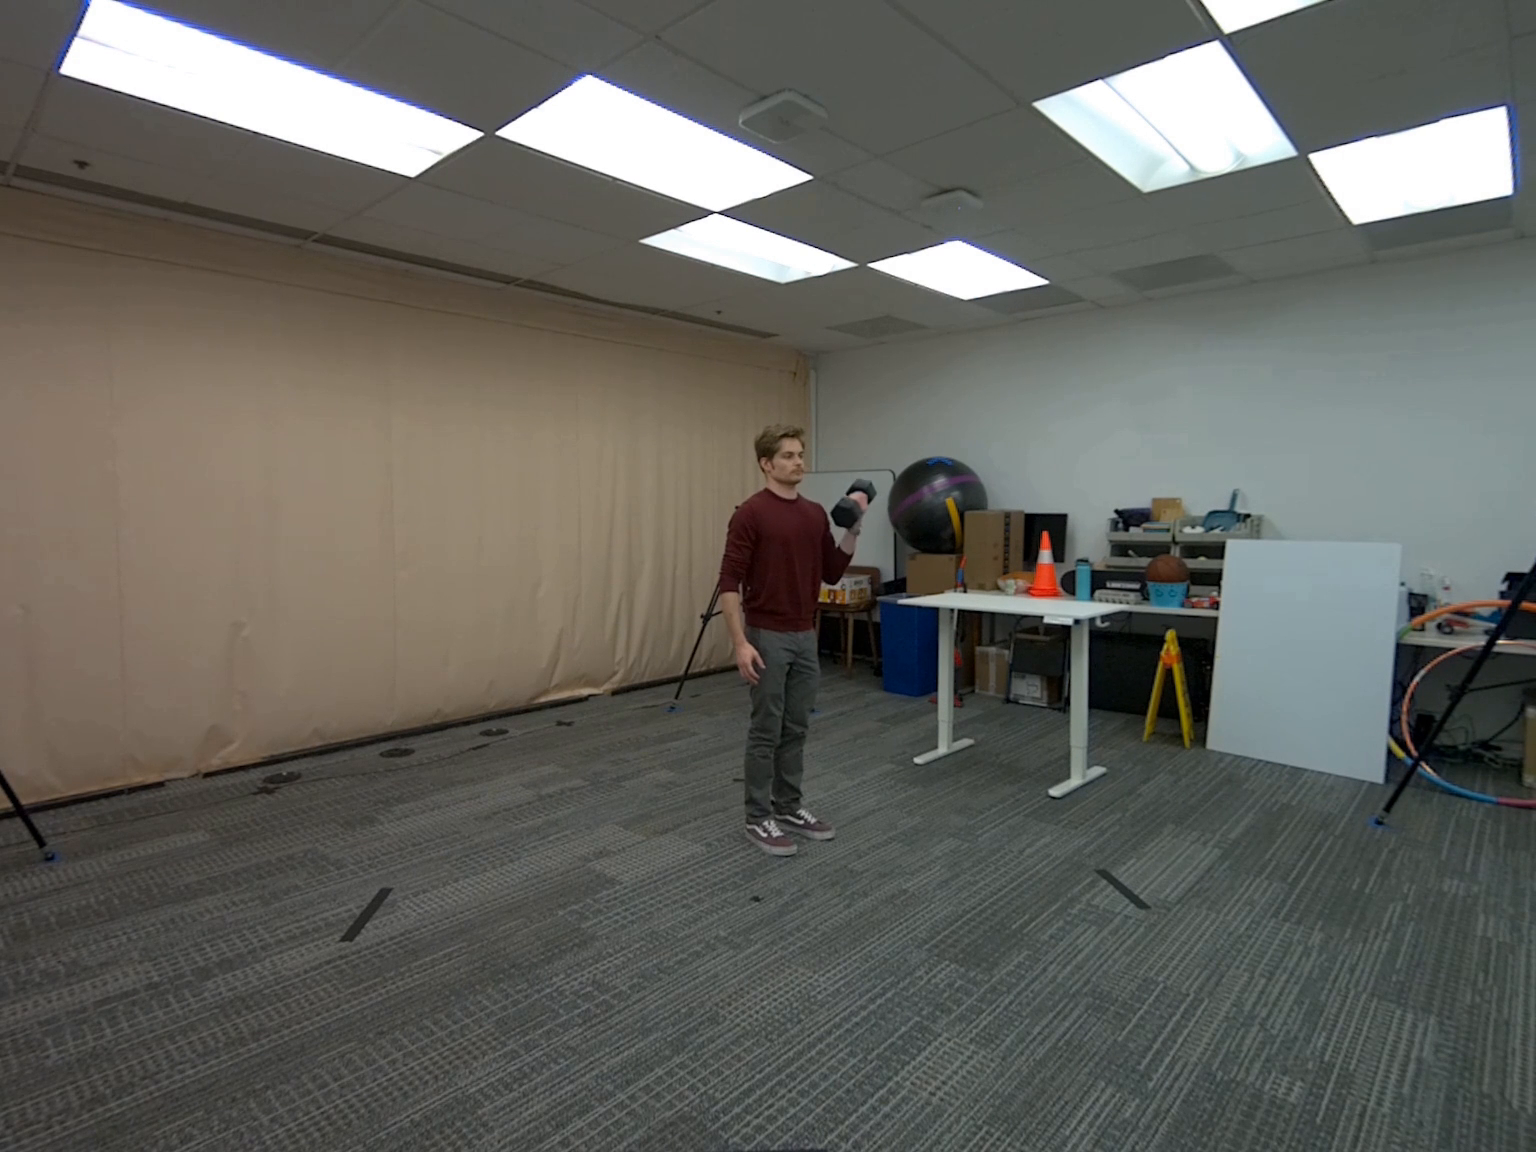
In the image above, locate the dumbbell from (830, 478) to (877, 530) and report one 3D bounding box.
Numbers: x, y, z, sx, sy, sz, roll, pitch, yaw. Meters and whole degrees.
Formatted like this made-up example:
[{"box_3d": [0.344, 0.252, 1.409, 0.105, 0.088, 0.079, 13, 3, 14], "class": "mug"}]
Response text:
[{"box_3d": [0.368, -0.288, 3.489, 0.109, 0.123, 0.291, 38, 37, 3], "class": "dumbbell"}]
